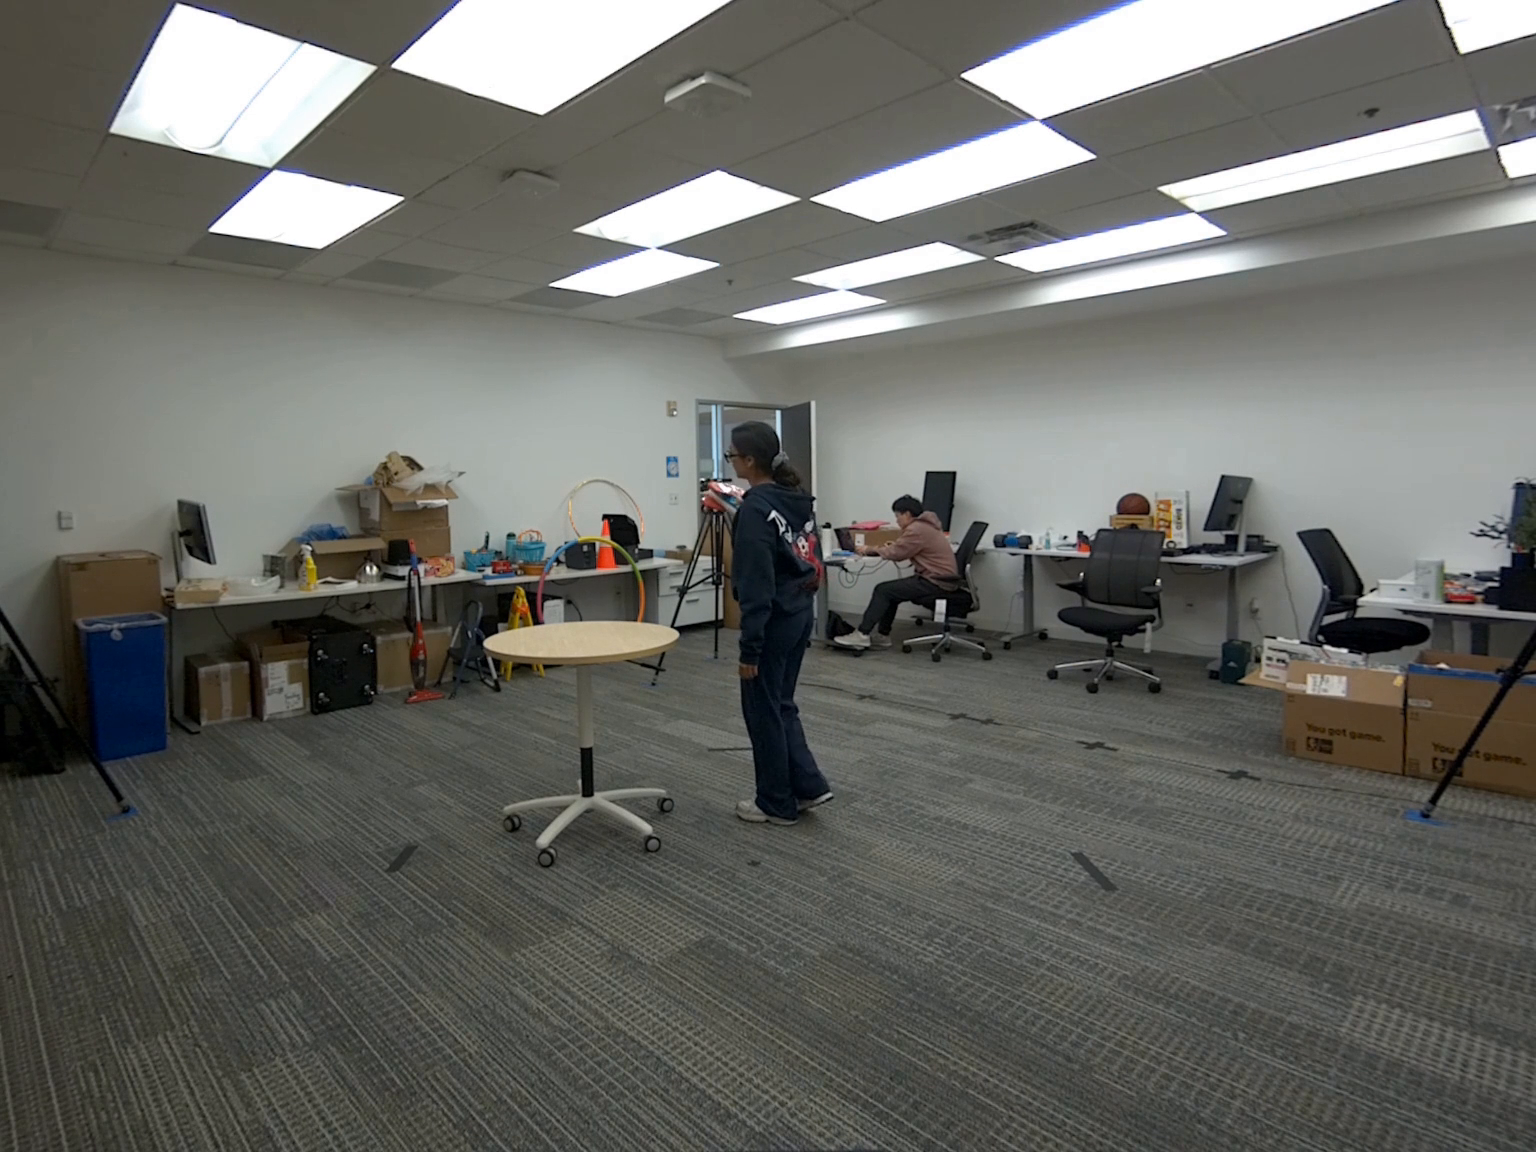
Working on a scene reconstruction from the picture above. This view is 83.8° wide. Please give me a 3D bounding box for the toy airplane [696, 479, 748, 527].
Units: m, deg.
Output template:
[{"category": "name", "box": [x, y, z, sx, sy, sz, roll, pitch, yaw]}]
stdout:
[{"category": "toy airplane", "box": [-0.156, -0.317, 3.841, 0.261, 0.156, 0.251, 18, 9, 4]}]
